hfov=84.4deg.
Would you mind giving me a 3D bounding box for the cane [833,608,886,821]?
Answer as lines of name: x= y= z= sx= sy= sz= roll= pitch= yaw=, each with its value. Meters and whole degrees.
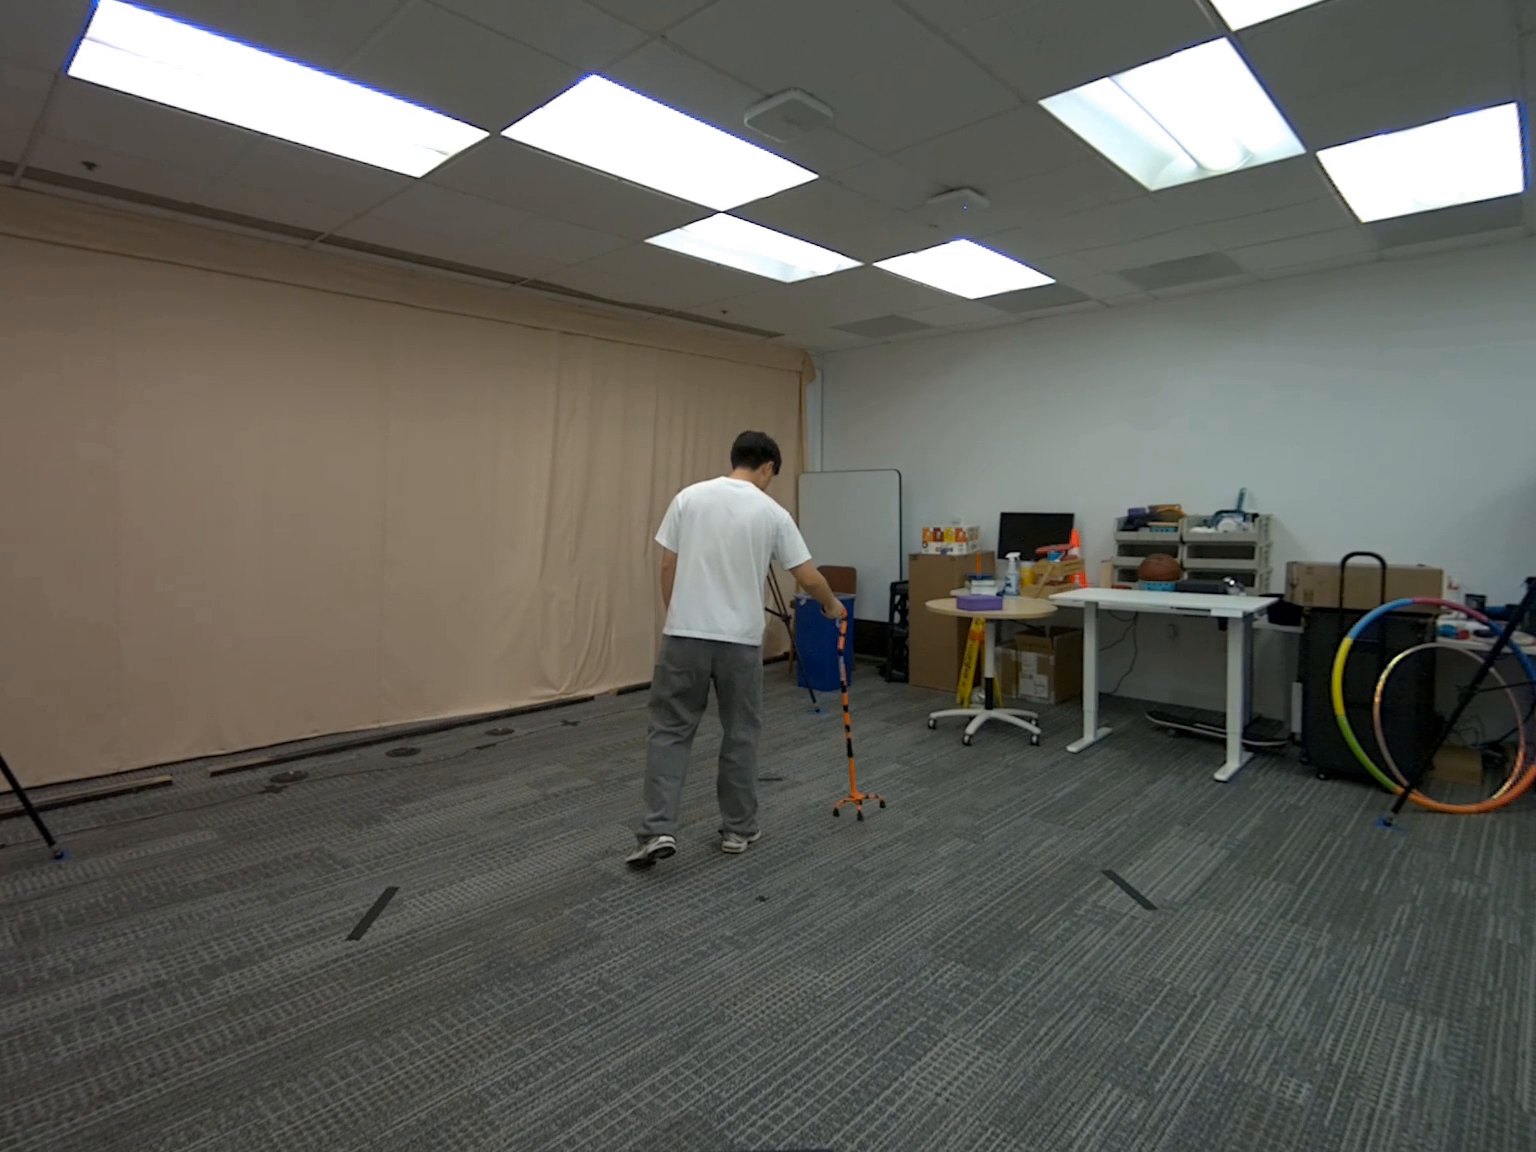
cane: x=0.357 y=0.574 z=3.644 sx=0.156 sy=0.907 sz=0.200 roll=-4 pitch=1 yaw=38
